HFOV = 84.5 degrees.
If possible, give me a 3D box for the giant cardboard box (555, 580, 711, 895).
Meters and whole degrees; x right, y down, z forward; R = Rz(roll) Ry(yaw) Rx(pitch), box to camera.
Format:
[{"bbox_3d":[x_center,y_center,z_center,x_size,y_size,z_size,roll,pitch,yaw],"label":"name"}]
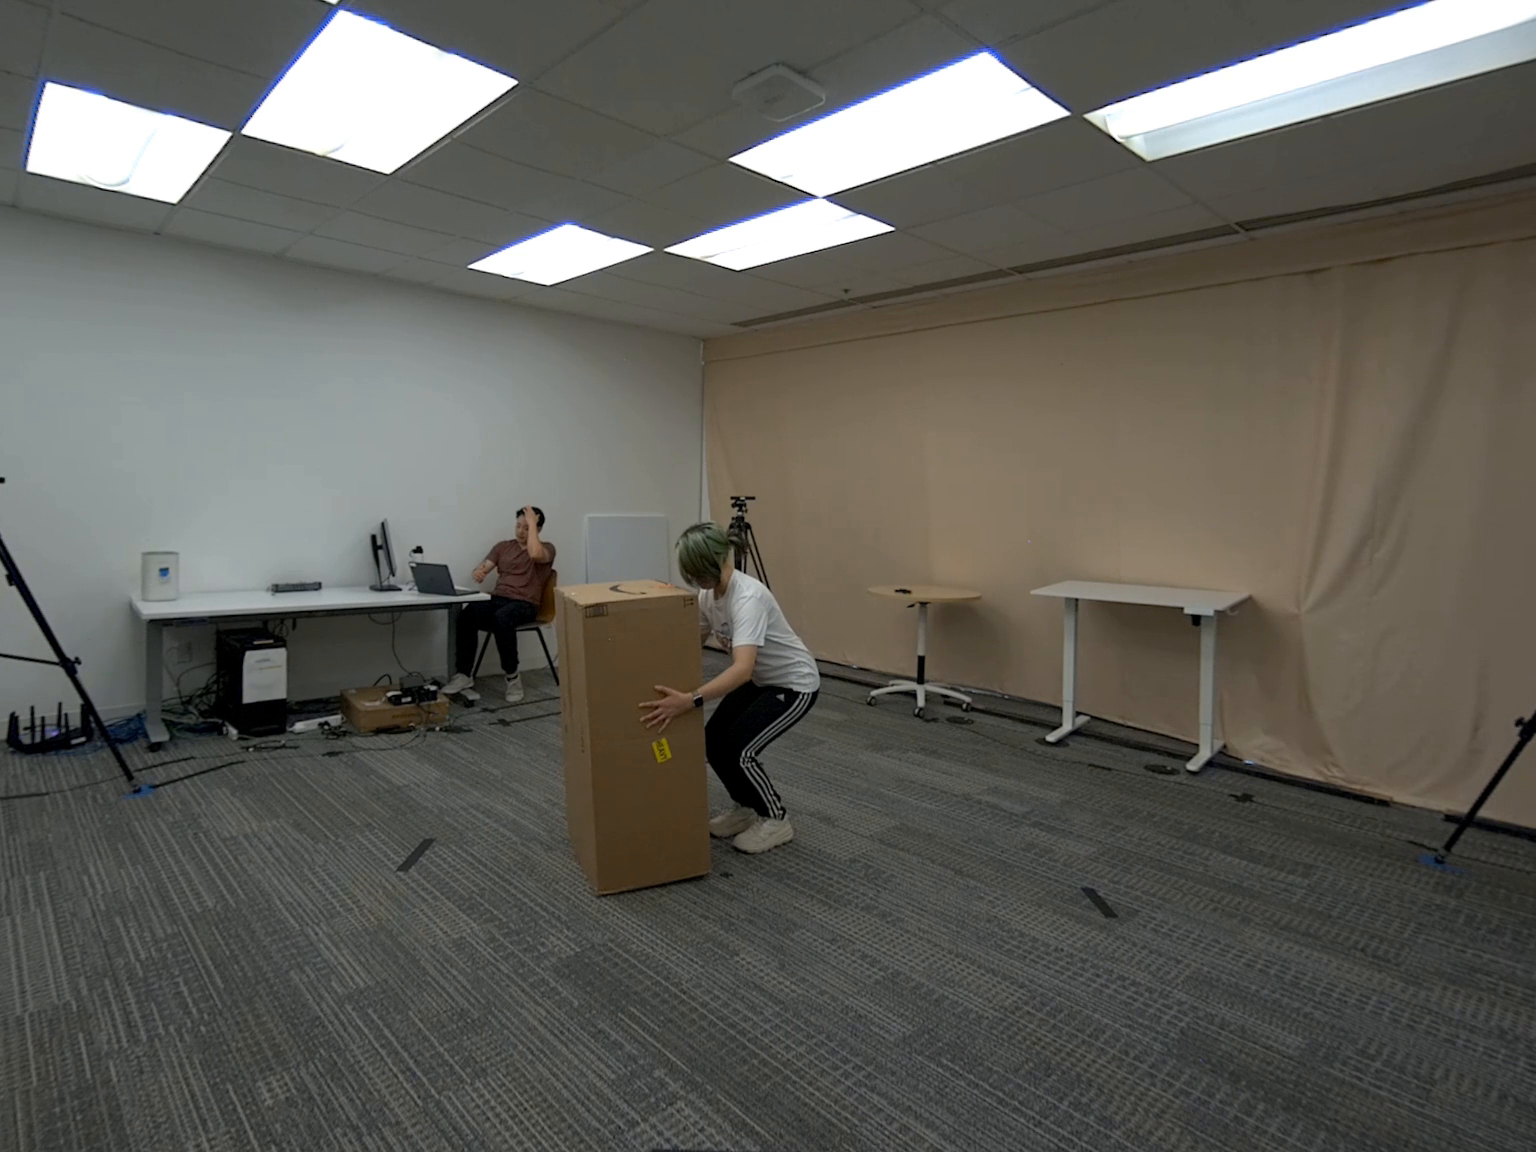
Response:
[{"bbox_3d":[-0.537,0.561,3.210,0.419,1.023,0.588,-3,4,-23],"label":"giant cardboard box"}]
